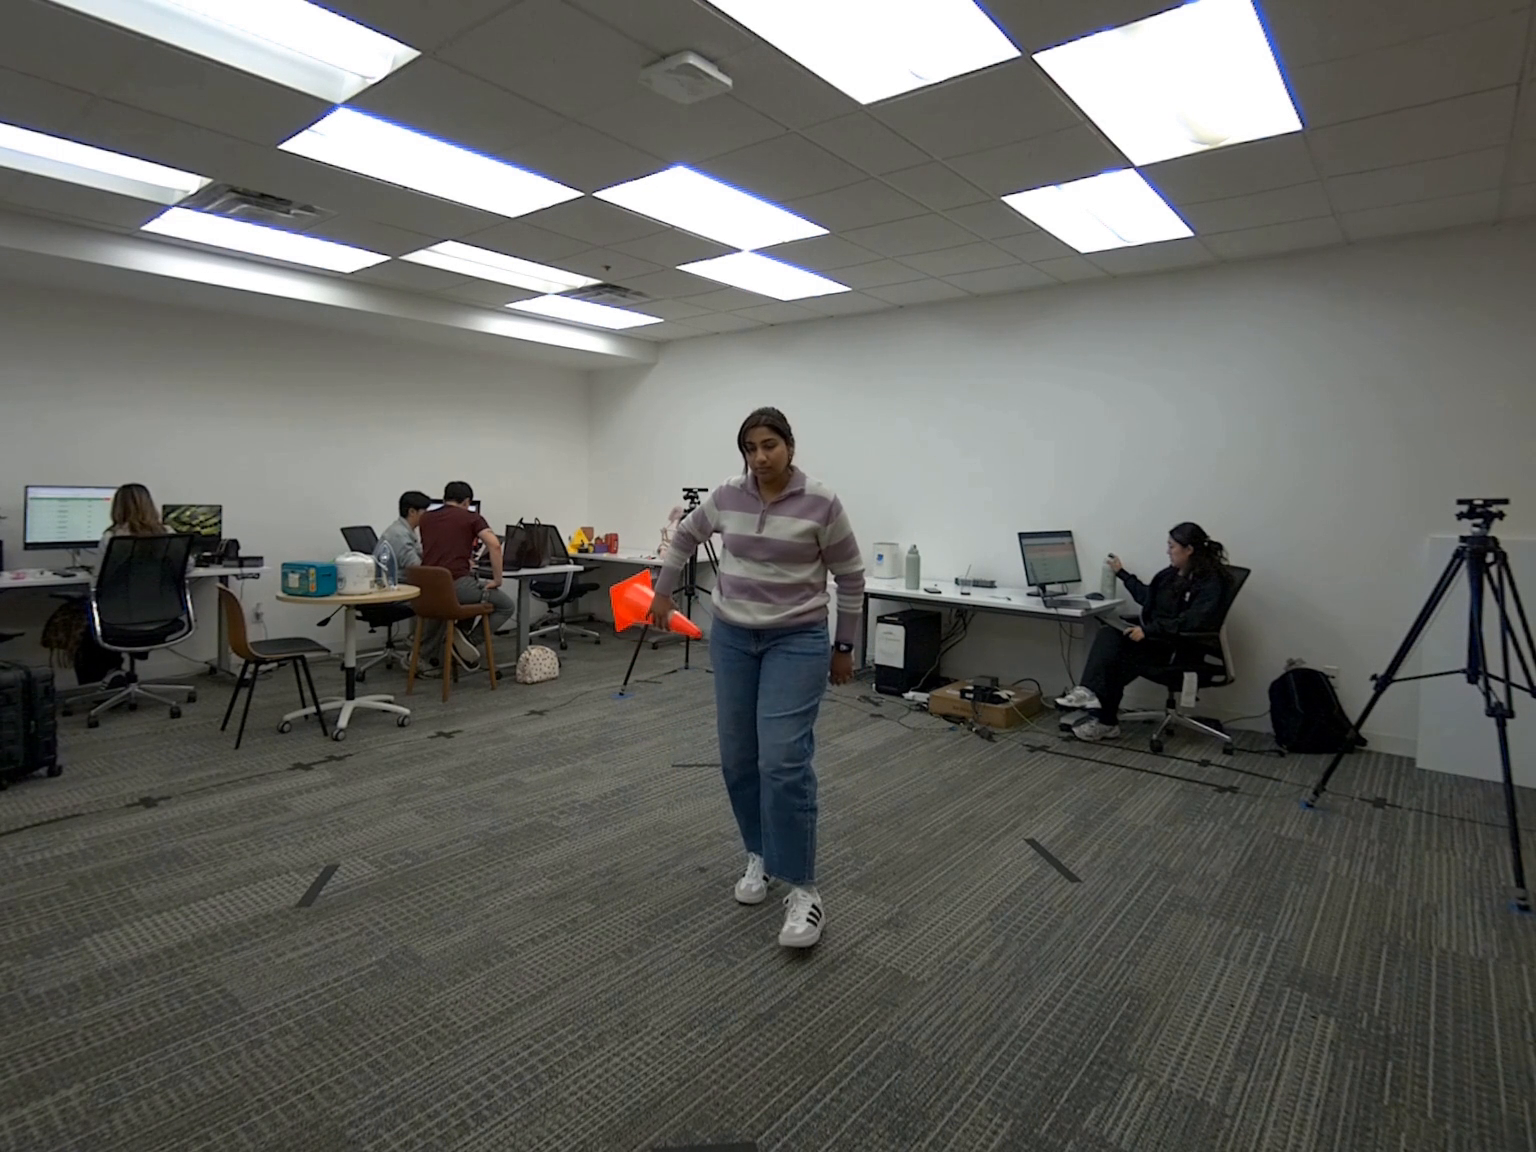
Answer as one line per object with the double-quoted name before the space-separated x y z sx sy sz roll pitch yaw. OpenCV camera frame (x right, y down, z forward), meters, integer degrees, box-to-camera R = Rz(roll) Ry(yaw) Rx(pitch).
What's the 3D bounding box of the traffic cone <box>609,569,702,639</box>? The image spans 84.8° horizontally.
"traffic cone" -0.391 0.153 3.216 0.399 0.198 0.202 23 36 37
